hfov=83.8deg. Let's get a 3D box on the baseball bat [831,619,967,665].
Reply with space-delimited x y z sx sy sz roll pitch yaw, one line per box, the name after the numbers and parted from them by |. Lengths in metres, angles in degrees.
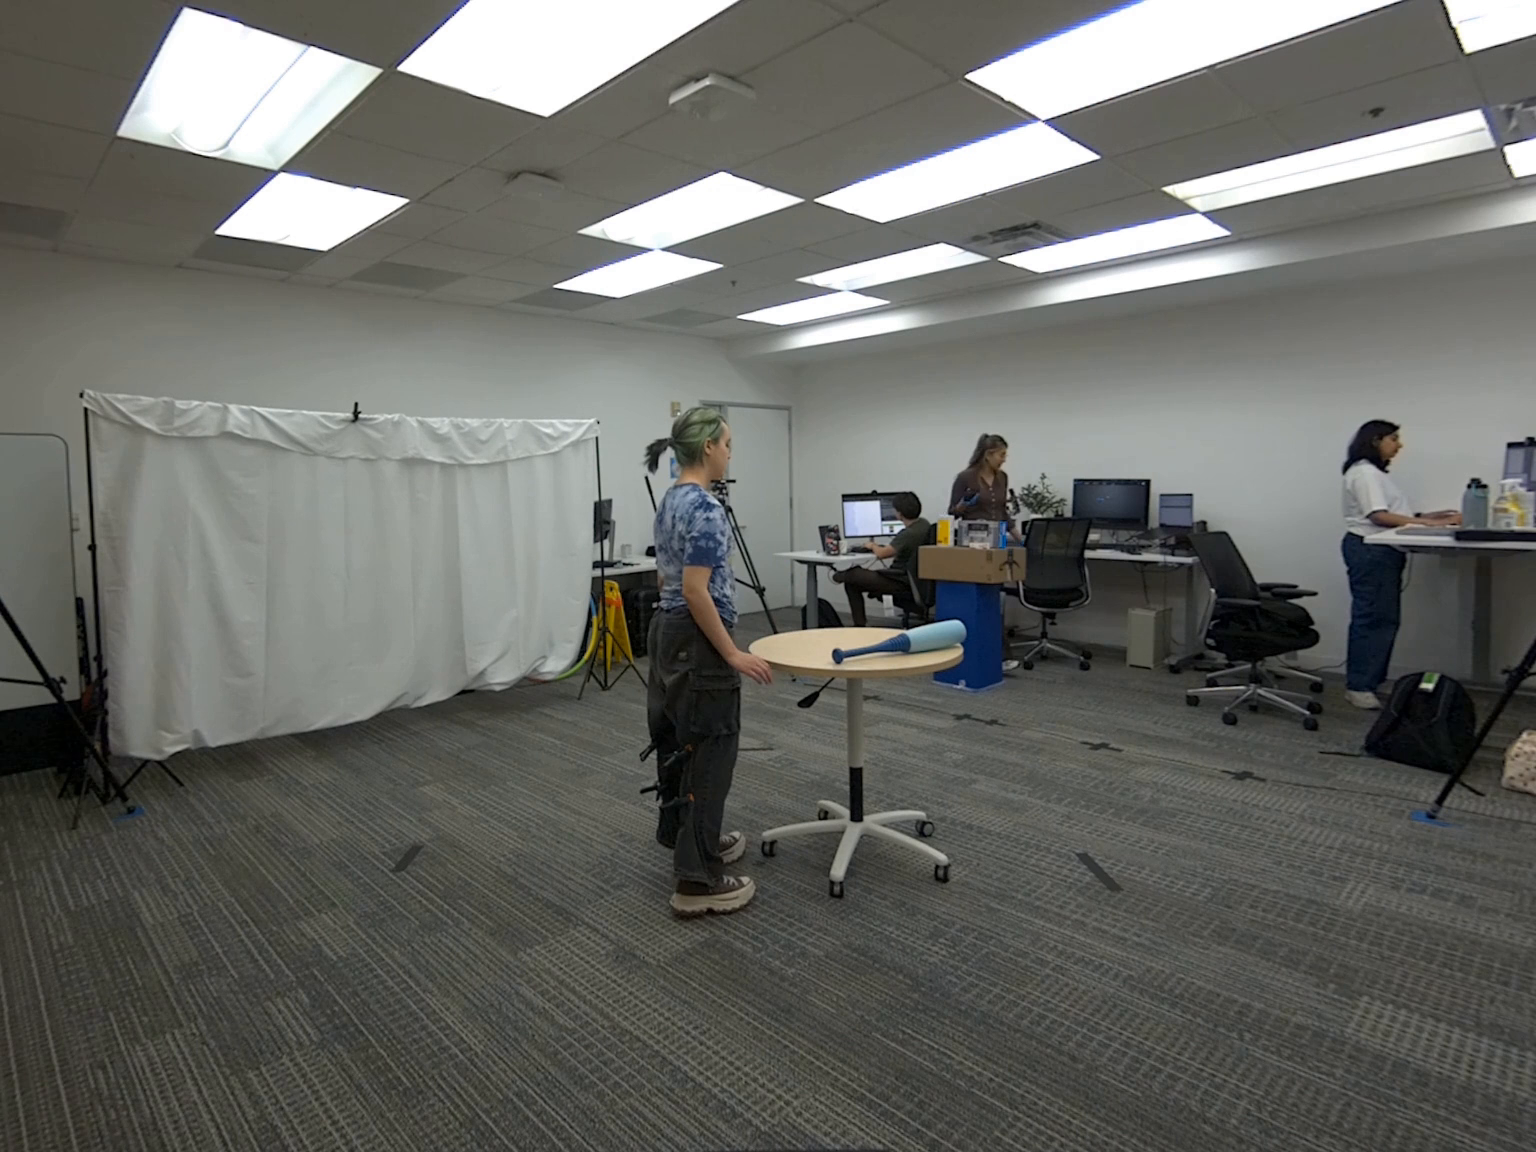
0.454 0.237 2.935 0.532 0.088 0.091 -8 7 -26 | baseball bat
